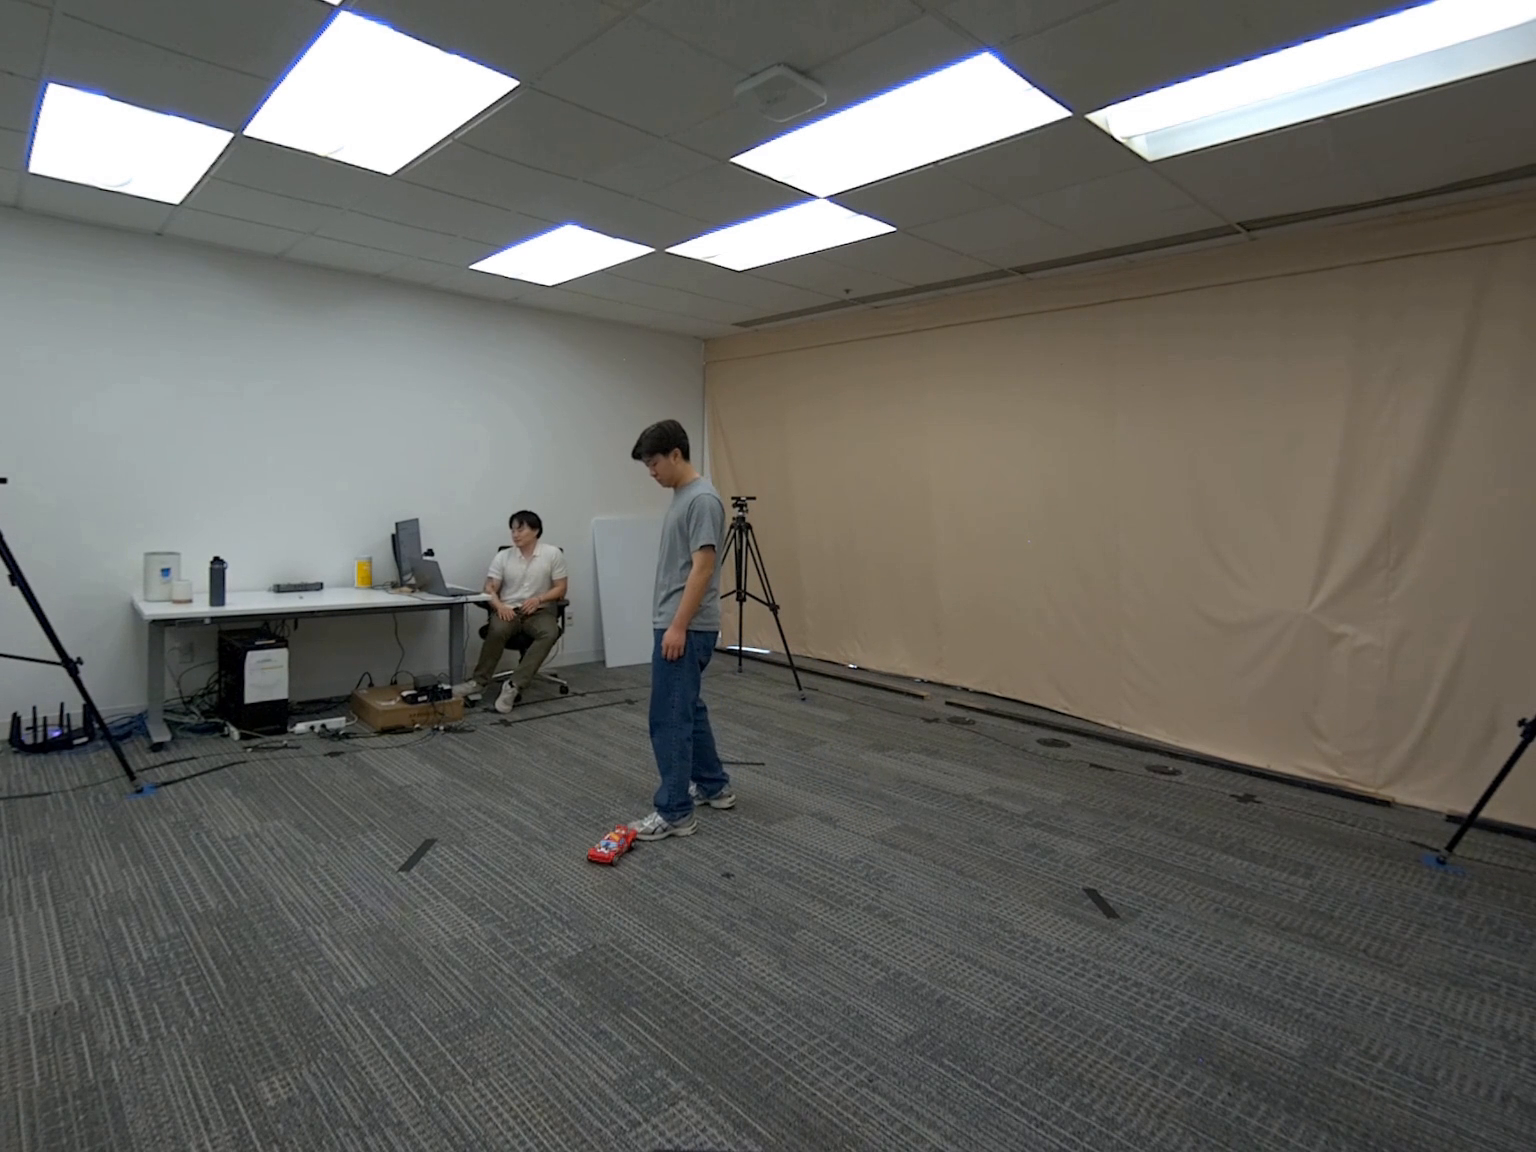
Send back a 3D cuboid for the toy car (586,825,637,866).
[{"bbox_3d":[-0.609,1.050,3.271,0.132,0.082,0.254,2,16,17],"label":"toy car"}]
